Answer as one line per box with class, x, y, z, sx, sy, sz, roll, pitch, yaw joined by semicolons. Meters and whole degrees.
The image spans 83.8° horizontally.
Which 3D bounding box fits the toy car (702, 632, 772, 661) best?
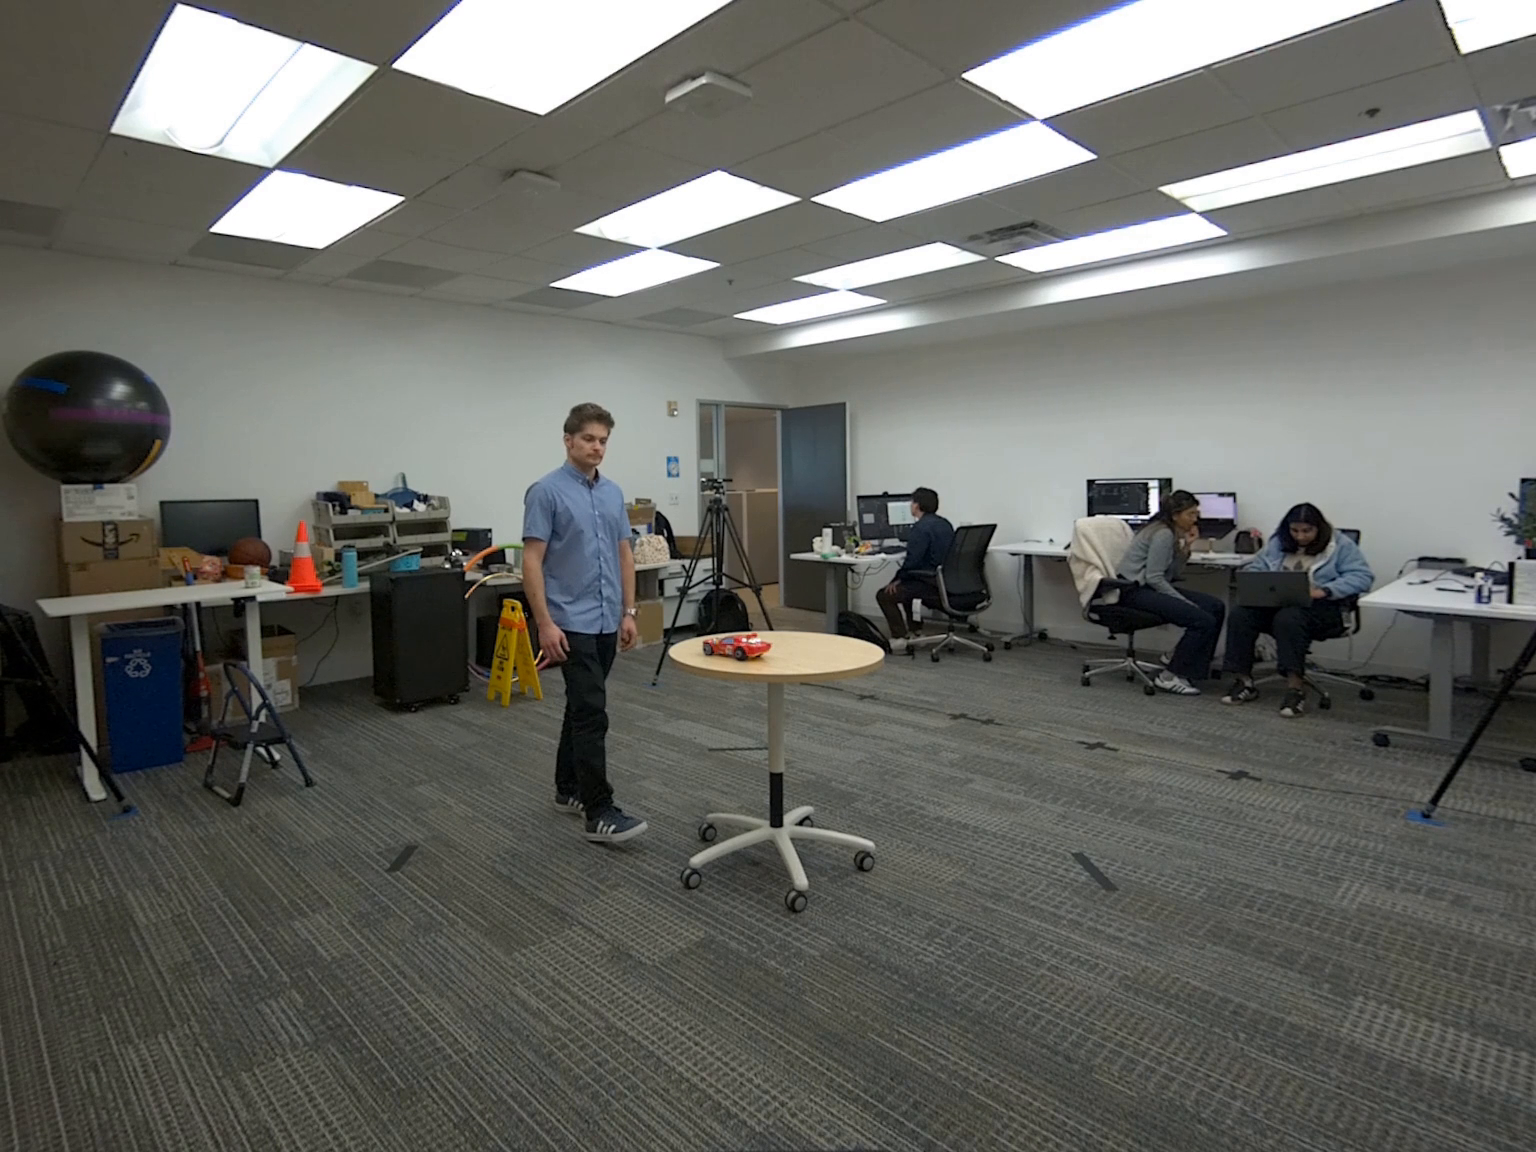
toy car;-0.102;0.246;2.944;0.260;0.083;0.127;-9;-1;39
